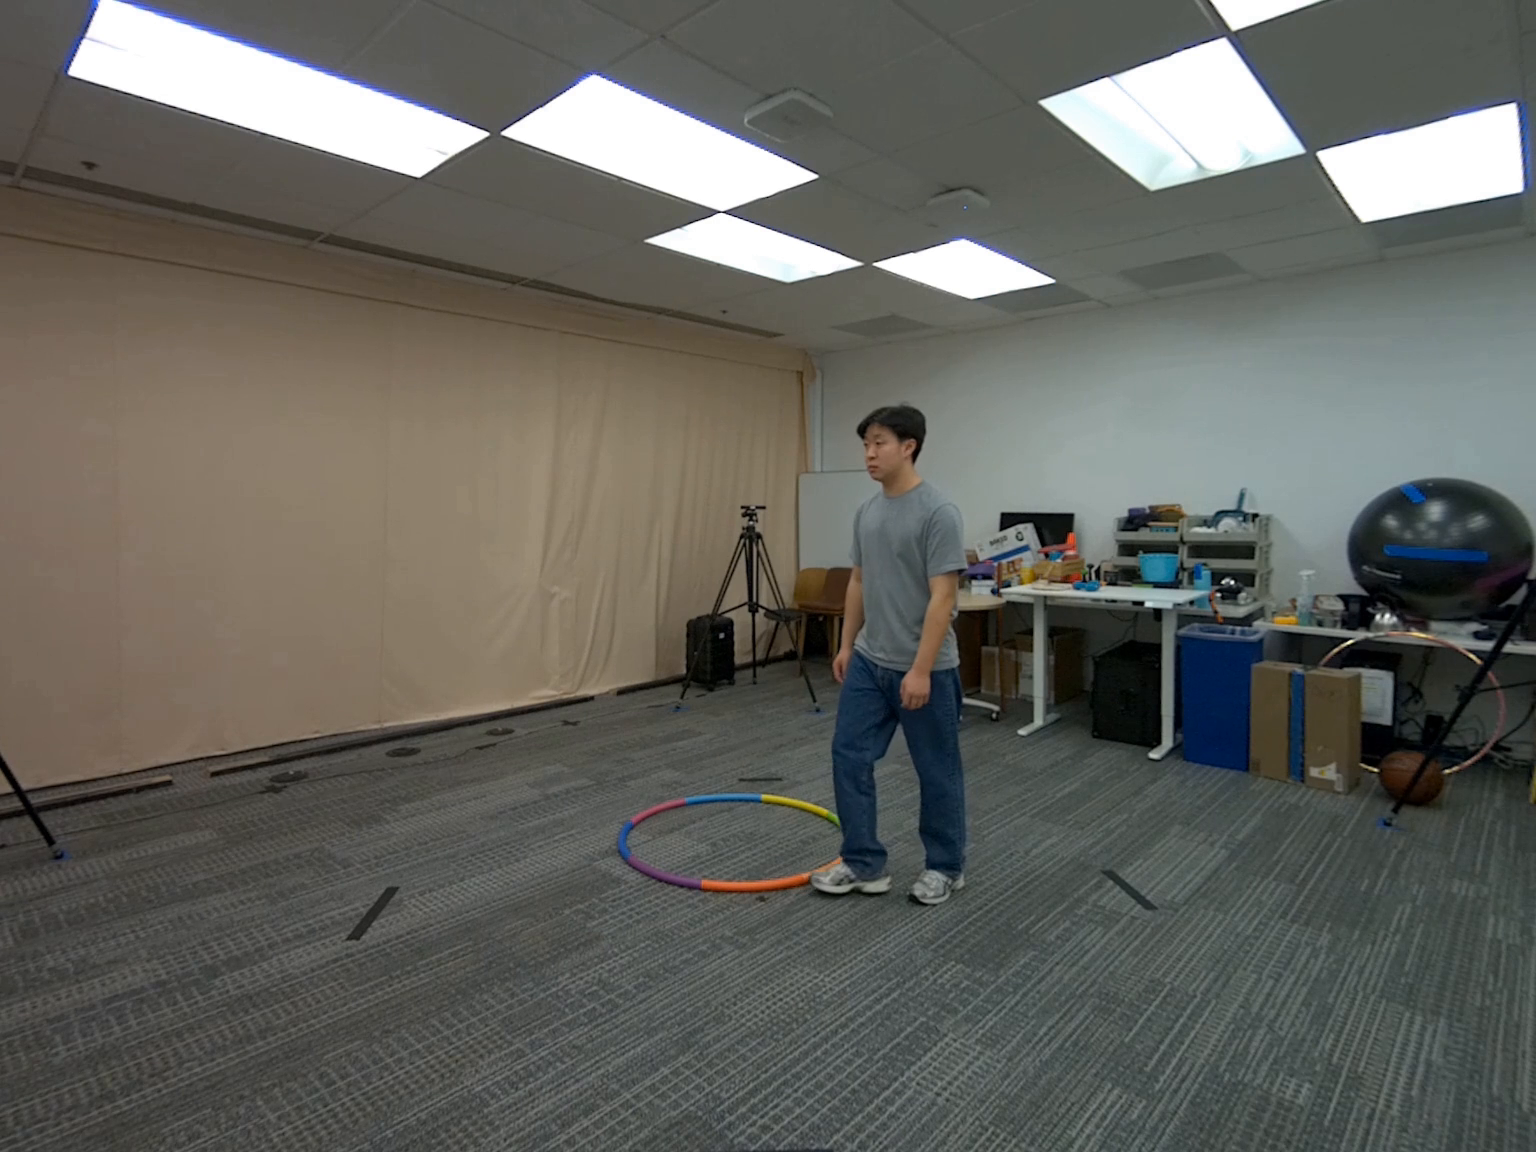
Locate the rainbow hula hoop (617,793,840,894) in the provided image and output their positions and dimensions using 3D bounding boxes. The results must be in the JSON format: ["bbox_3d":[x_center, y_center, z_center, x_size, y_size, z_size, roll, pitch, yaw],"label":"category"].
[{"bbox_3d":[-0.130,1.070,3.507,0.978,0.035,0.982,-1,4,-2],"label":"rainbow hula hoop"}]
